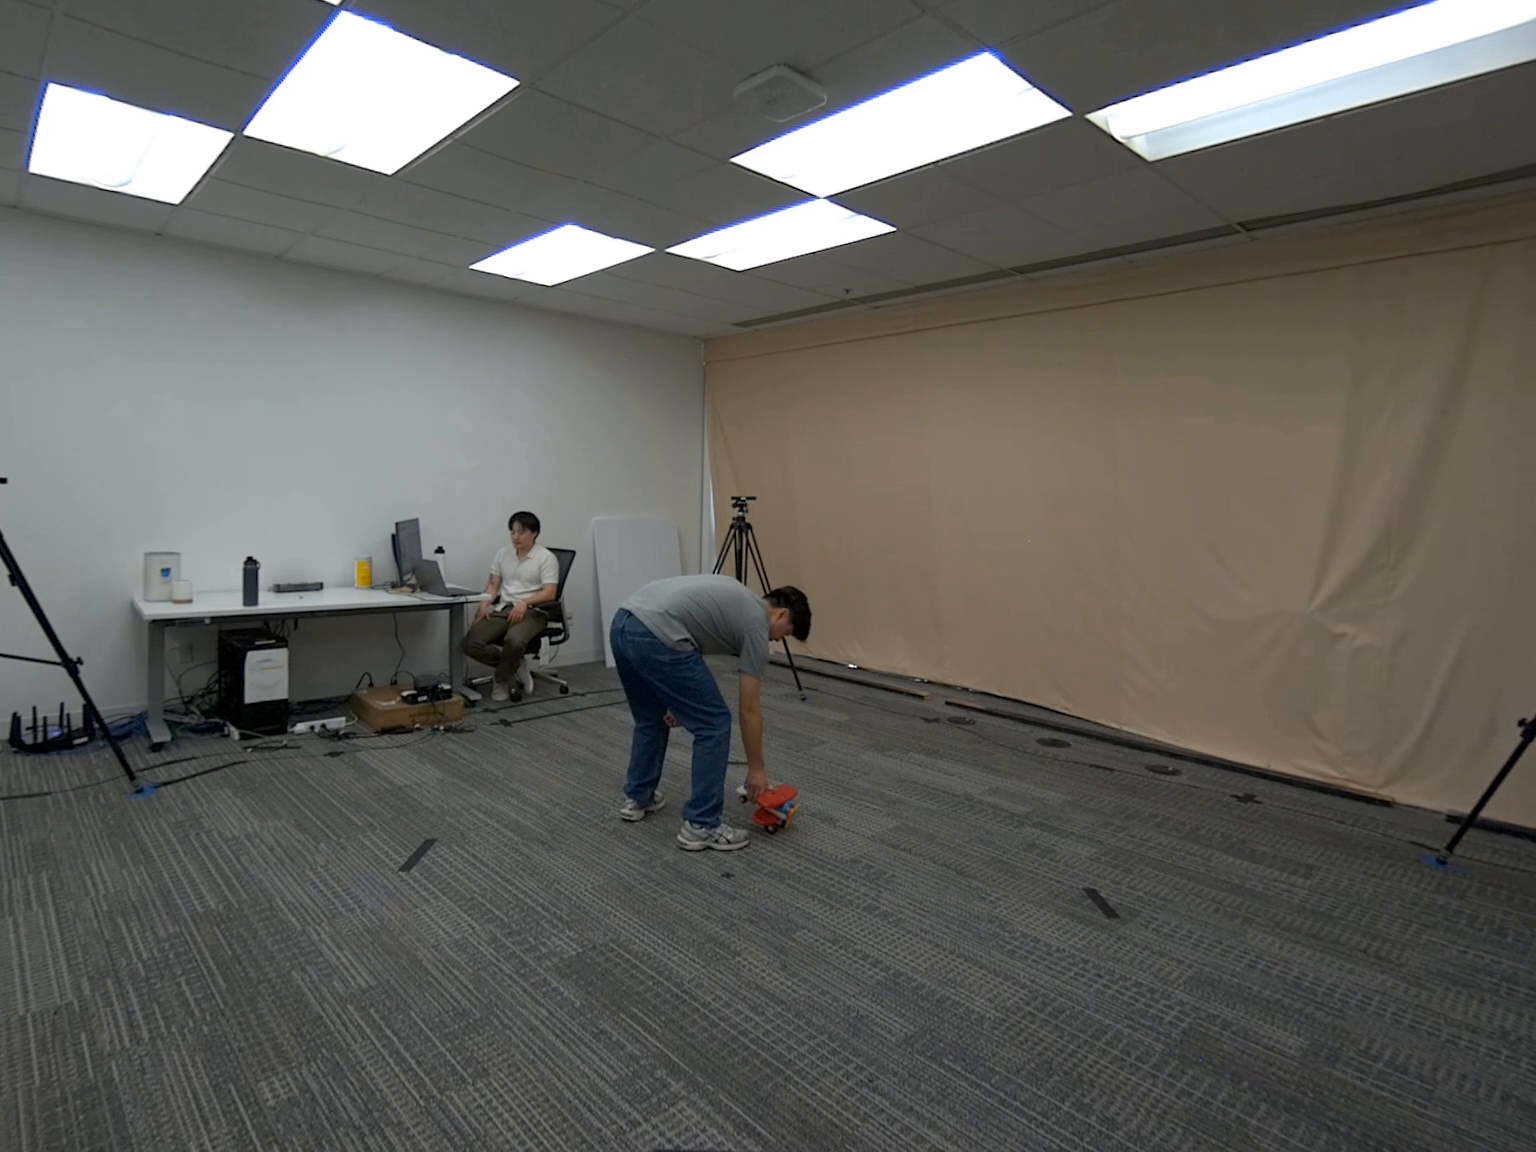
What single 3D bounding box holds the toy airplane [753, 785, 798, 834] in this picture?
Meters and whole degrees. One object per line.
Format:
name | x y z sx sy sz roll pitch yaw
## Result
toy airplane | -0.019 0.966 3.553 0.260 0.155 0.252 28 19 1
